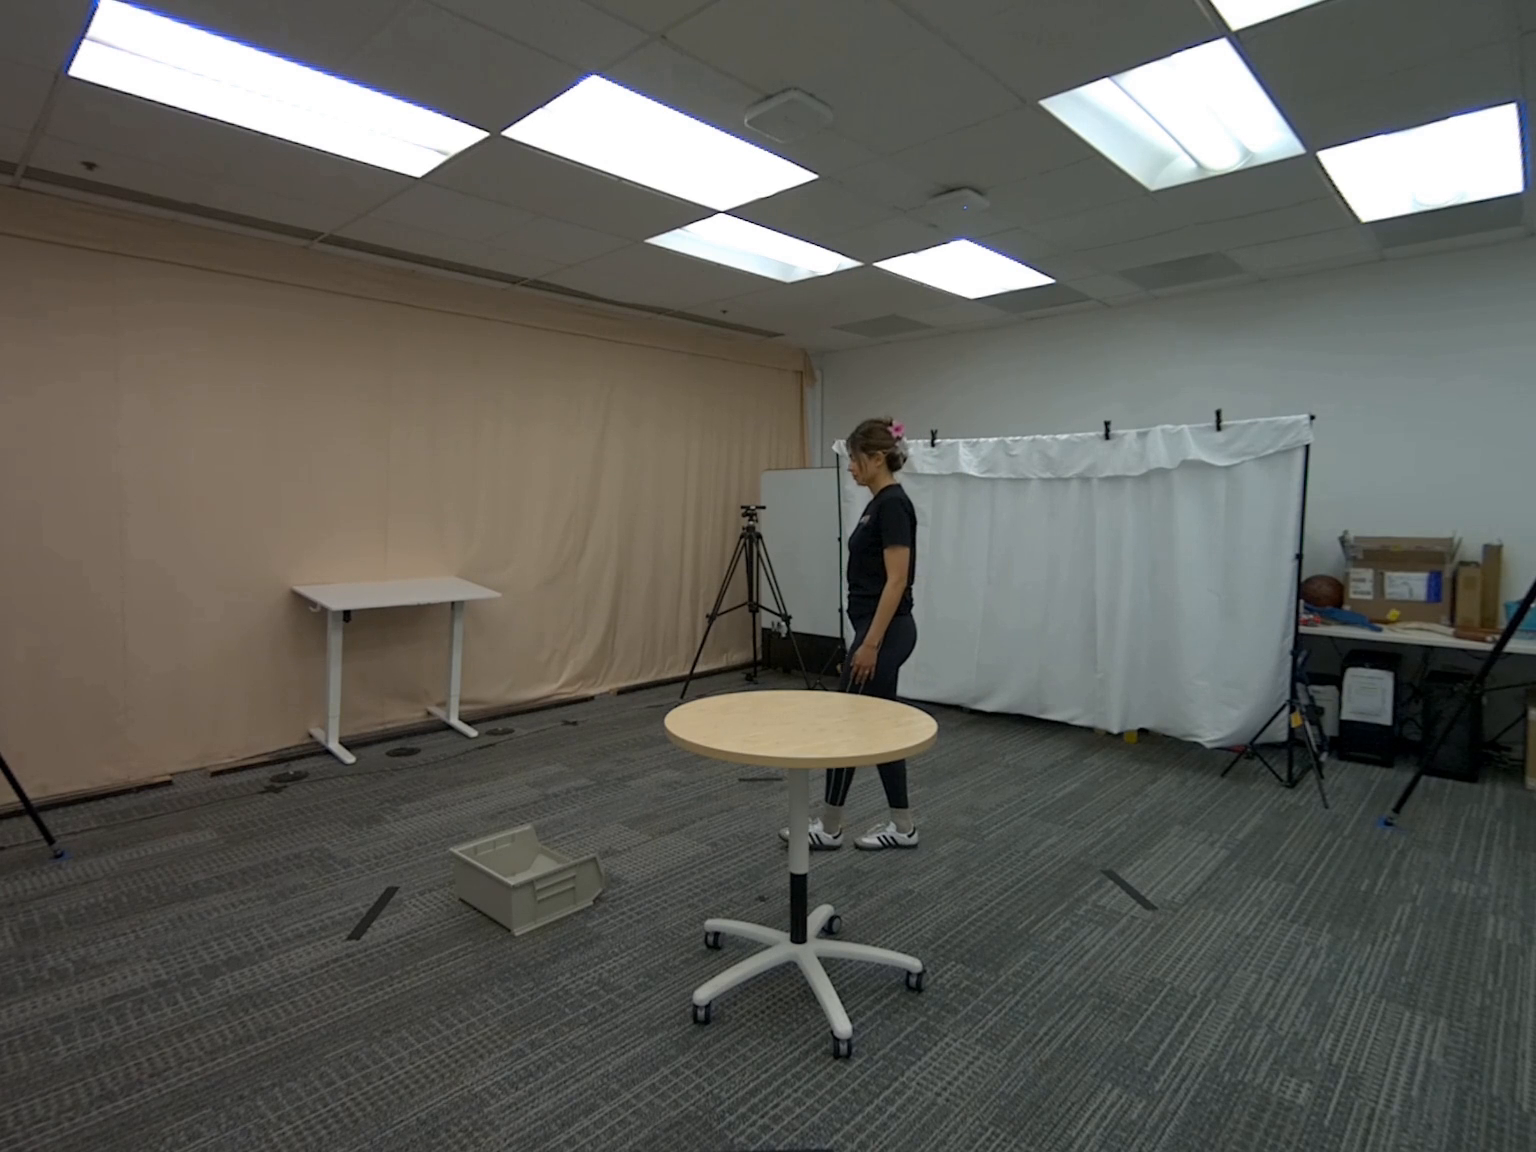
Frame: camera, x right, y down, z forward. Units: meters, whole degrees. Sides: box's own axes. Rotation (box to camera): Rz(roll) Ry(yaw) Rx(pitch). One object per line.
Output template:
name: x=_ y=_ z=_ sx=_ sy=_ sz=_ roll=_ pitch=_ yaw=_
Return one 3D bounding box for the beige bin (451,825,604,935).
beige bin: x=-0.859 y=1.064 z=2.992 sx=0.436 sy=0.188 sz=0.366 roll=5 pitch=7 yaw=43
